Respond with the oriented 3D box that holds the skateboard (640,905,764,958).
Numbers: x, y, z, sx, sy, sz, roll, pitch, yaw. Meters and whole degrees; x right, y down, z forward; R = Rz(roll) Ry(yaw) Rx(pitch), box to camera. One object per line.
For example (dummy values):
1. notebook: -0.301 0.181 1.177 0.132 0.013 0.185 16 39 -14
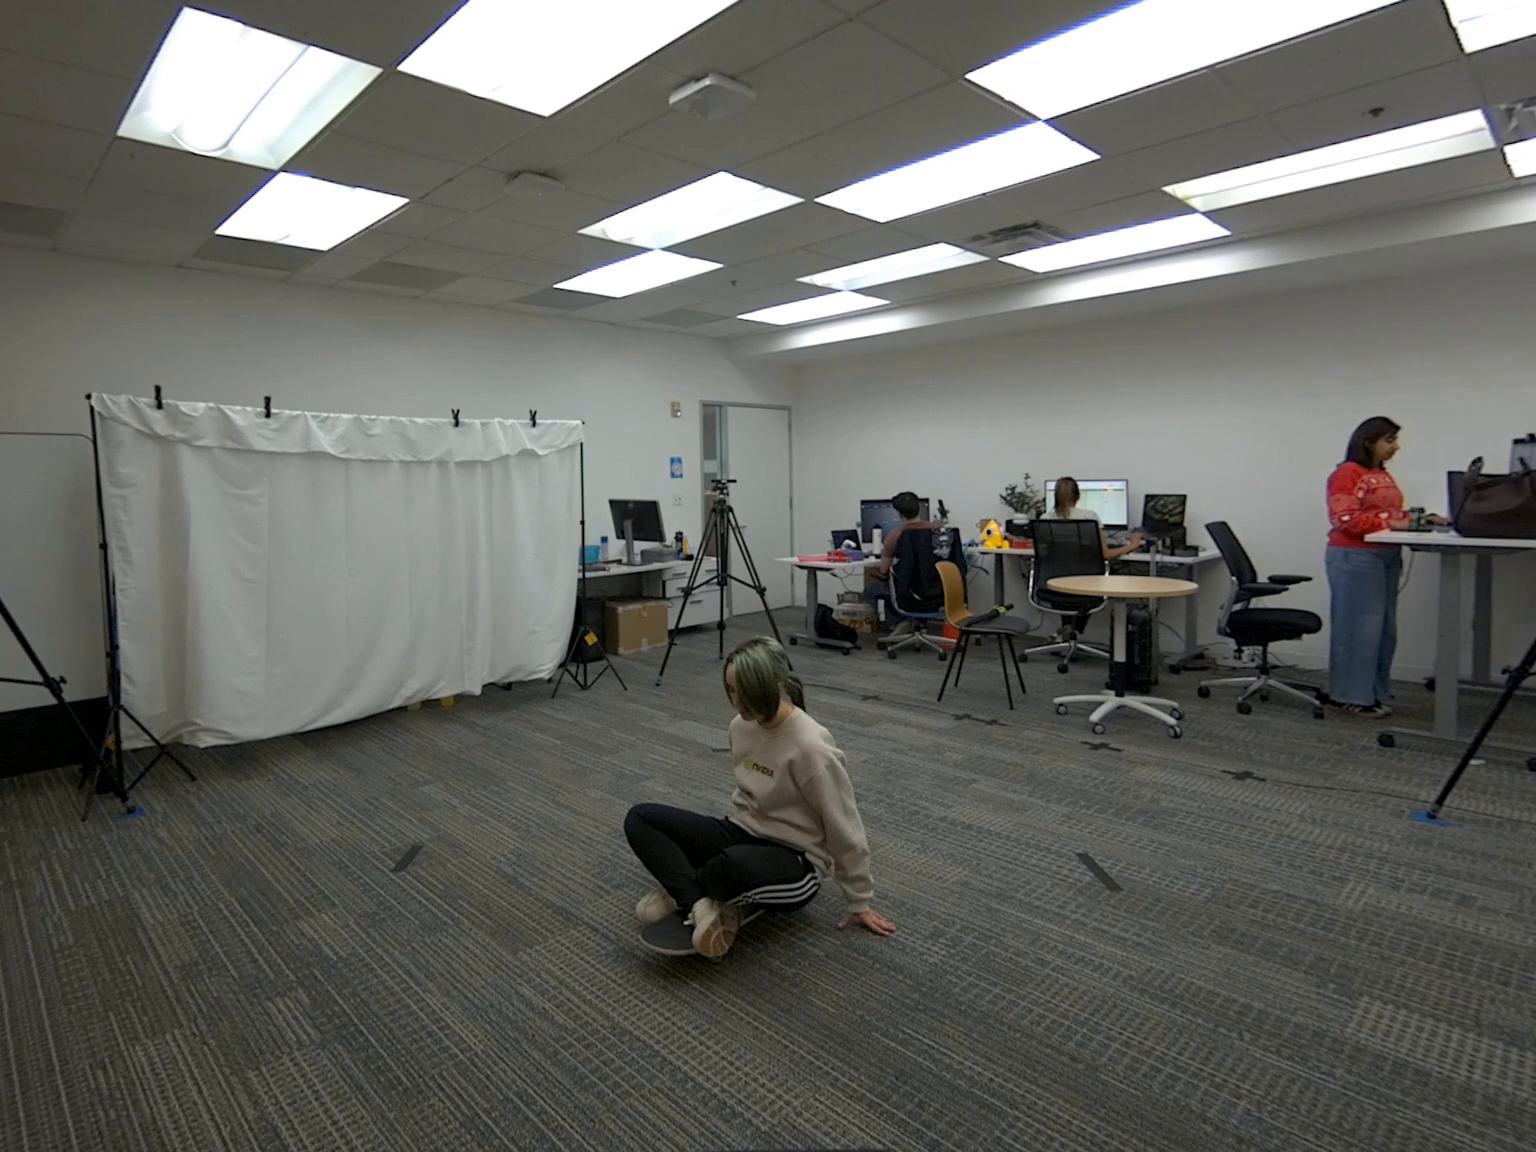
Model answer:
1. skateboard: -0.088 1.051 2.656 0.199 0.110 0.765 6 7 36
